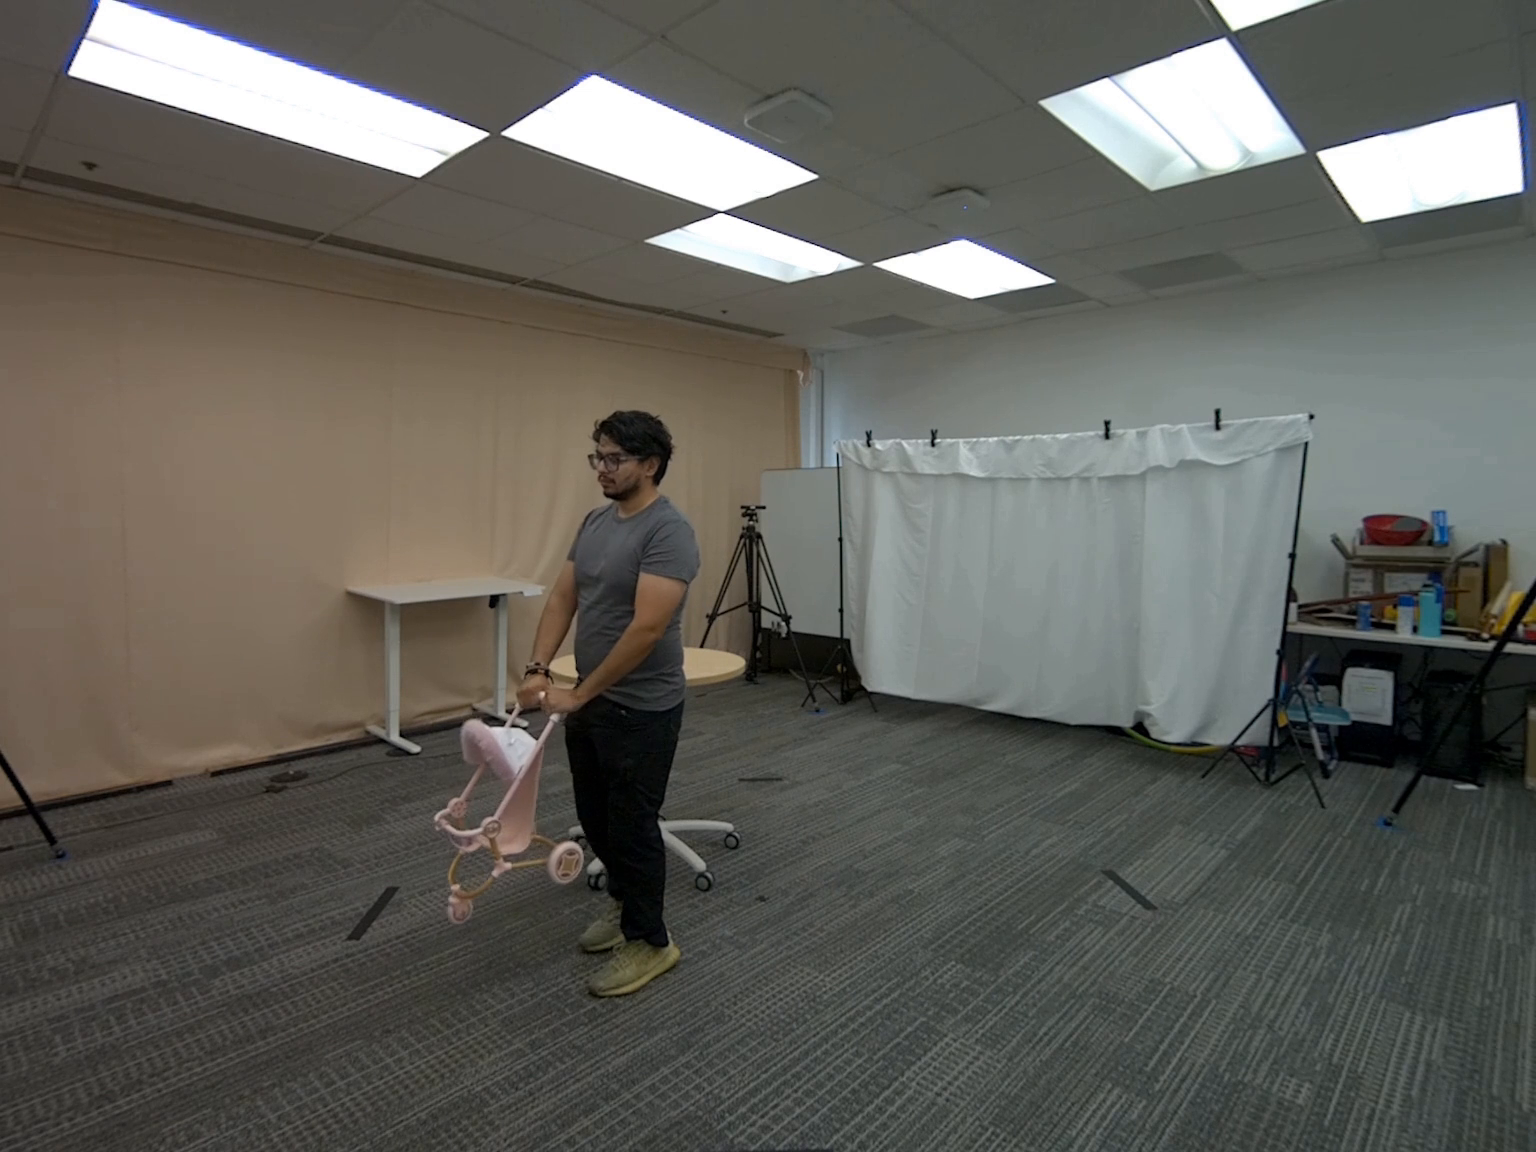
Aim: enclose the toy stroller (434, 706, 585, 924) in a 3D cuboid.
[{"bbox_3d":[-0.688,0.597,2.209,0.331,0.534,0.290,-4,5,-39],"label":"toy stroller"}]
